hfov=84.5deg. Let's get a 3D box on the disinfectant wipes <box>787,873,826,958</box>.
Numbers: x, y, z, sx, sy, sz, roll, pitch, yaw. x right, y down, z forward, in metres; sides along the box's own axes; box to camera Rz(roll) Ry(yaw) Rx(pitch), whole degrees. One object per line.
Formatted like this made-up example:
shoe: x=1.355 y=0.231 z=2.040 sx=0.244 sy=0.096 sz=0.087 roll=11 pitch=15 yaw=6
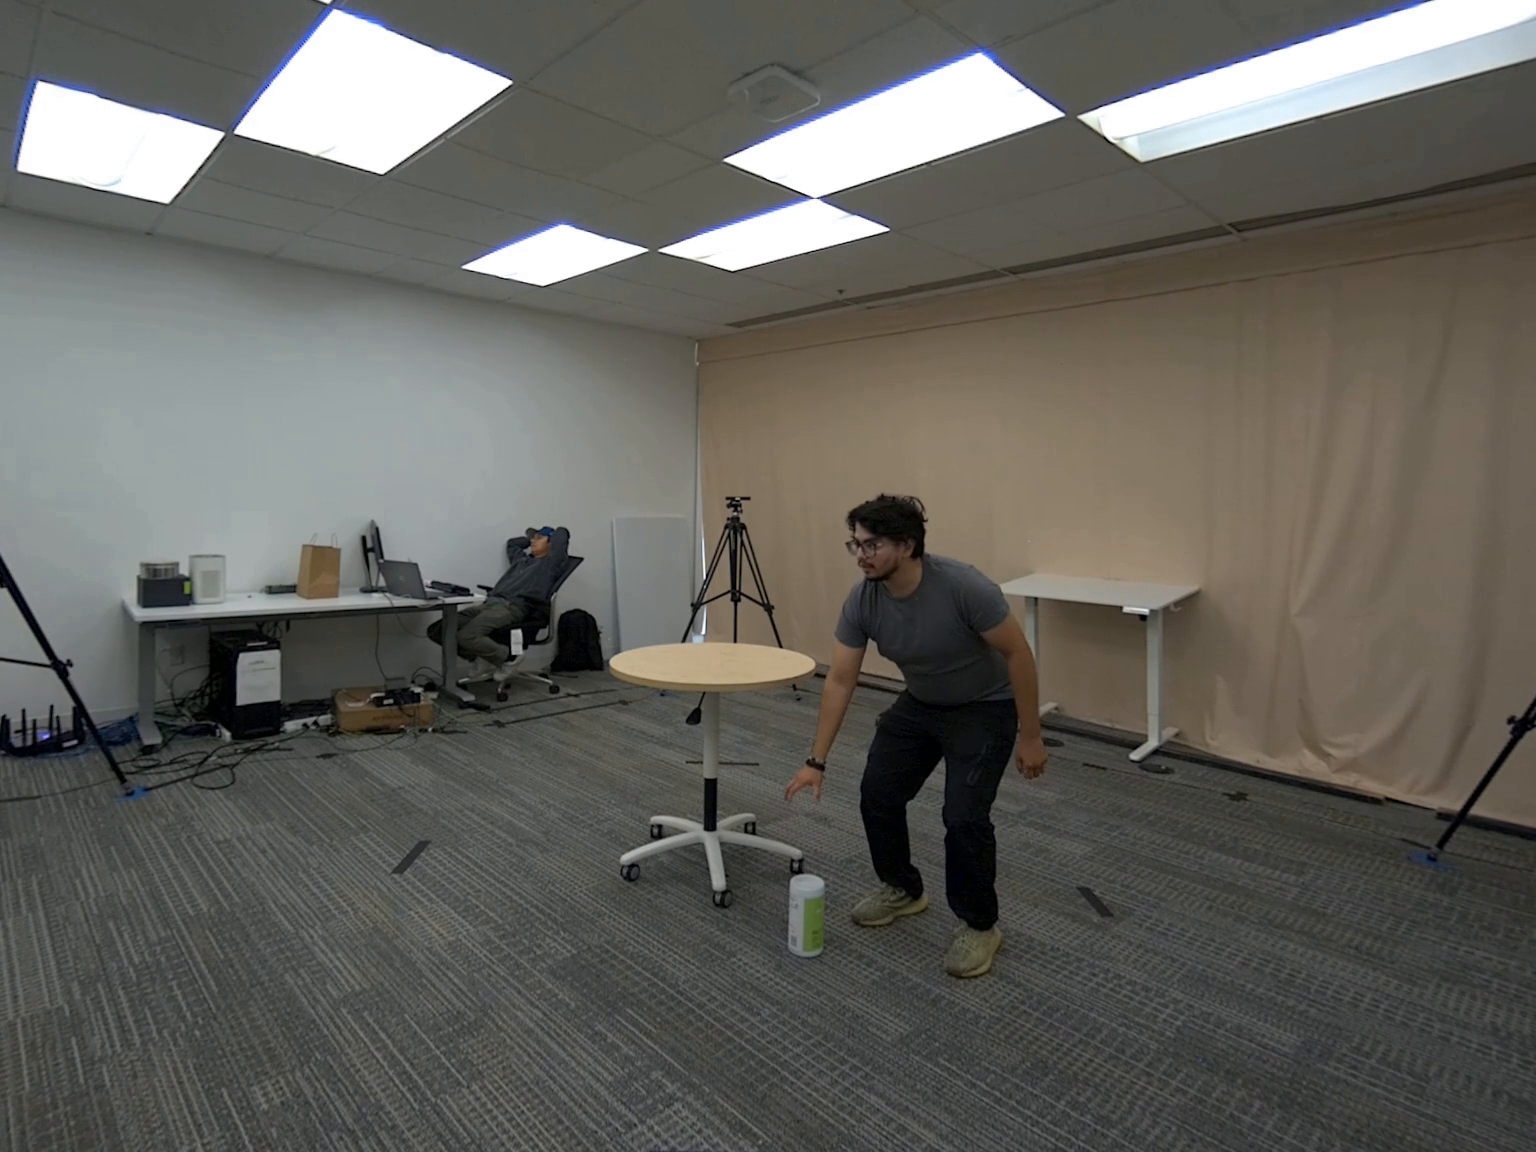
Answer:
disinfectant wipes: x=0.118 y=1.048 z=2.606 sx=0.118 sy=0.217 sz=0.118 roll=0 pitch=2 yaw=-1
